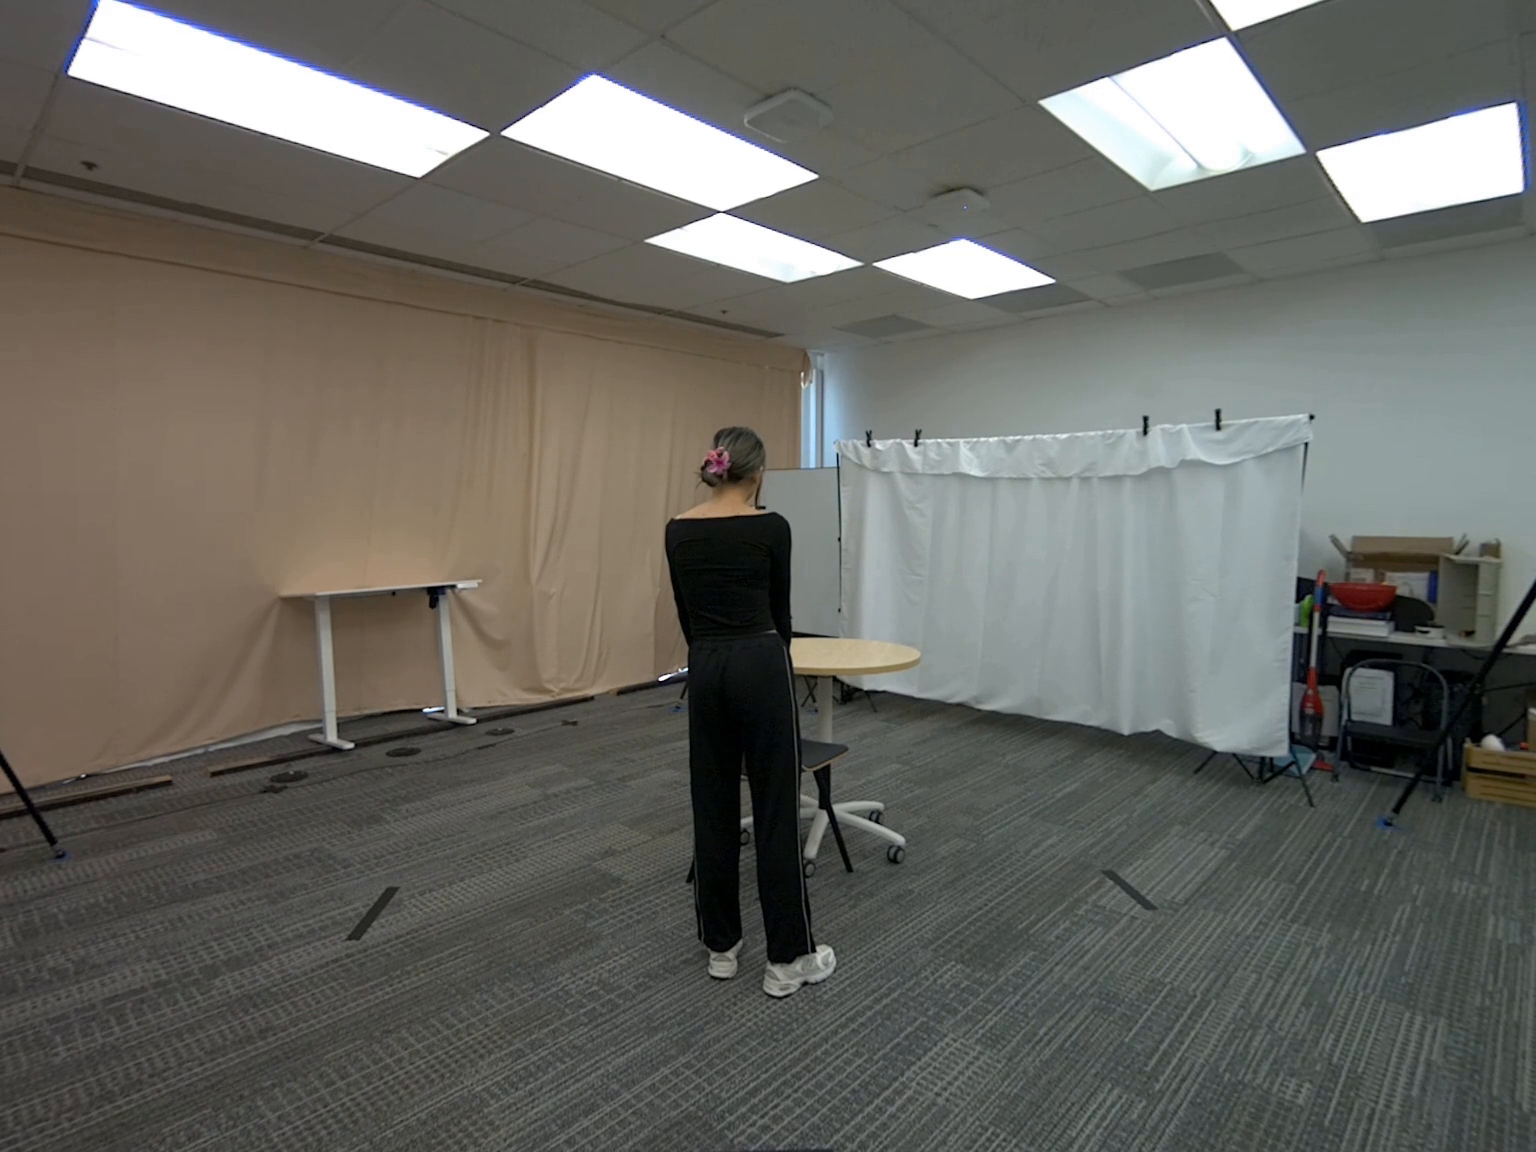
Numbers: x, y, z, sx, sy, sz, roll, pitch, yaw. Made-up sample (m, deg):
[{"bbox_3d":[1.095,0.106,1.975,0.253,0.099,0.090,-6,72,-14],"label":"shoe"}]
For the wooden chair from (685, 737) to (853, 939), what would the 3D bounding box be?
[{"bbox_3d":[0.008,0.701,3.122,0.493,0.873,0.509,1,8,37],"label":"wooden chair"}]
